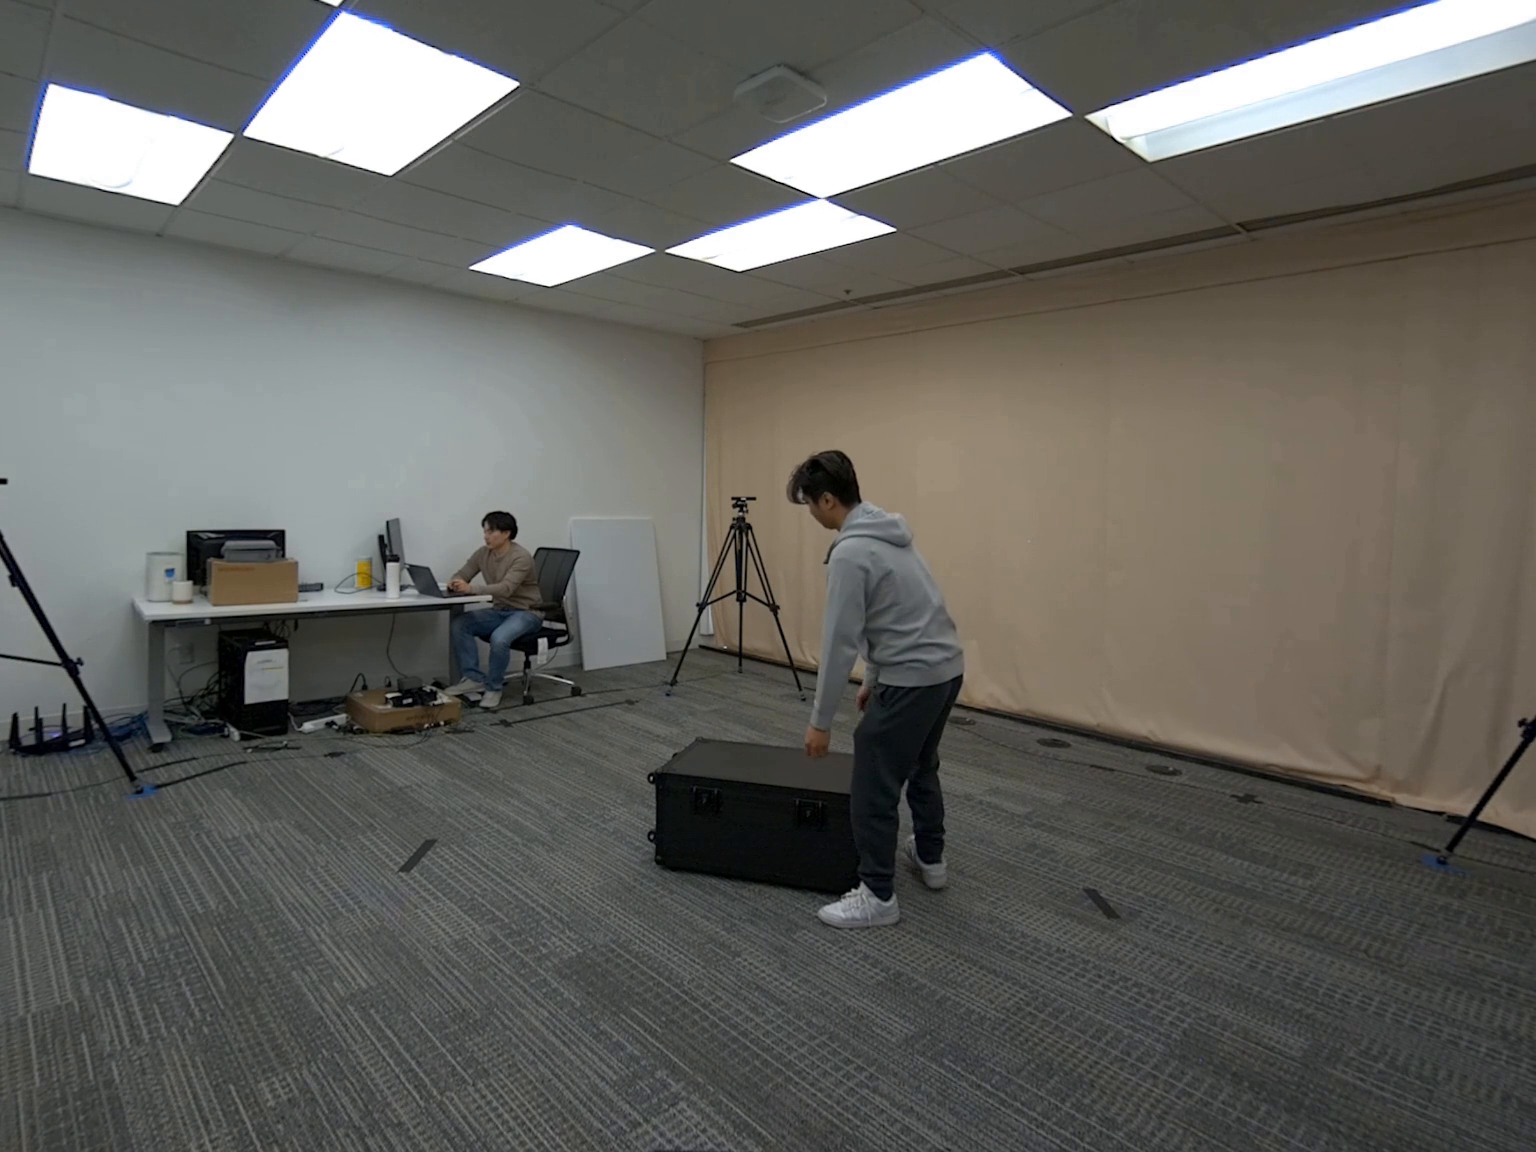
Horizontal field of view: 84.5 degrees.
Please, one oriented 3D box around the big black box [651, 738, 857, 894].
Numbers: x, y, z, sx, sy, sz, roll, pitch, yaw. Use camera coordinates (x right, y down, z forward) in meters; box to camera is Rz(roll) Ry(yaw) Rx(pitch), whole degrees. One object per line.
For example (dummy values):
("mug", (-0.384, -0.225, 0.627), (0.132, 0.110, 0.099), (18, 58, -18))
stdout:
("big black box", (-0.019, 0.902, 3.261), (0.873, 0.395, 0.515), (3, 4, 16))
